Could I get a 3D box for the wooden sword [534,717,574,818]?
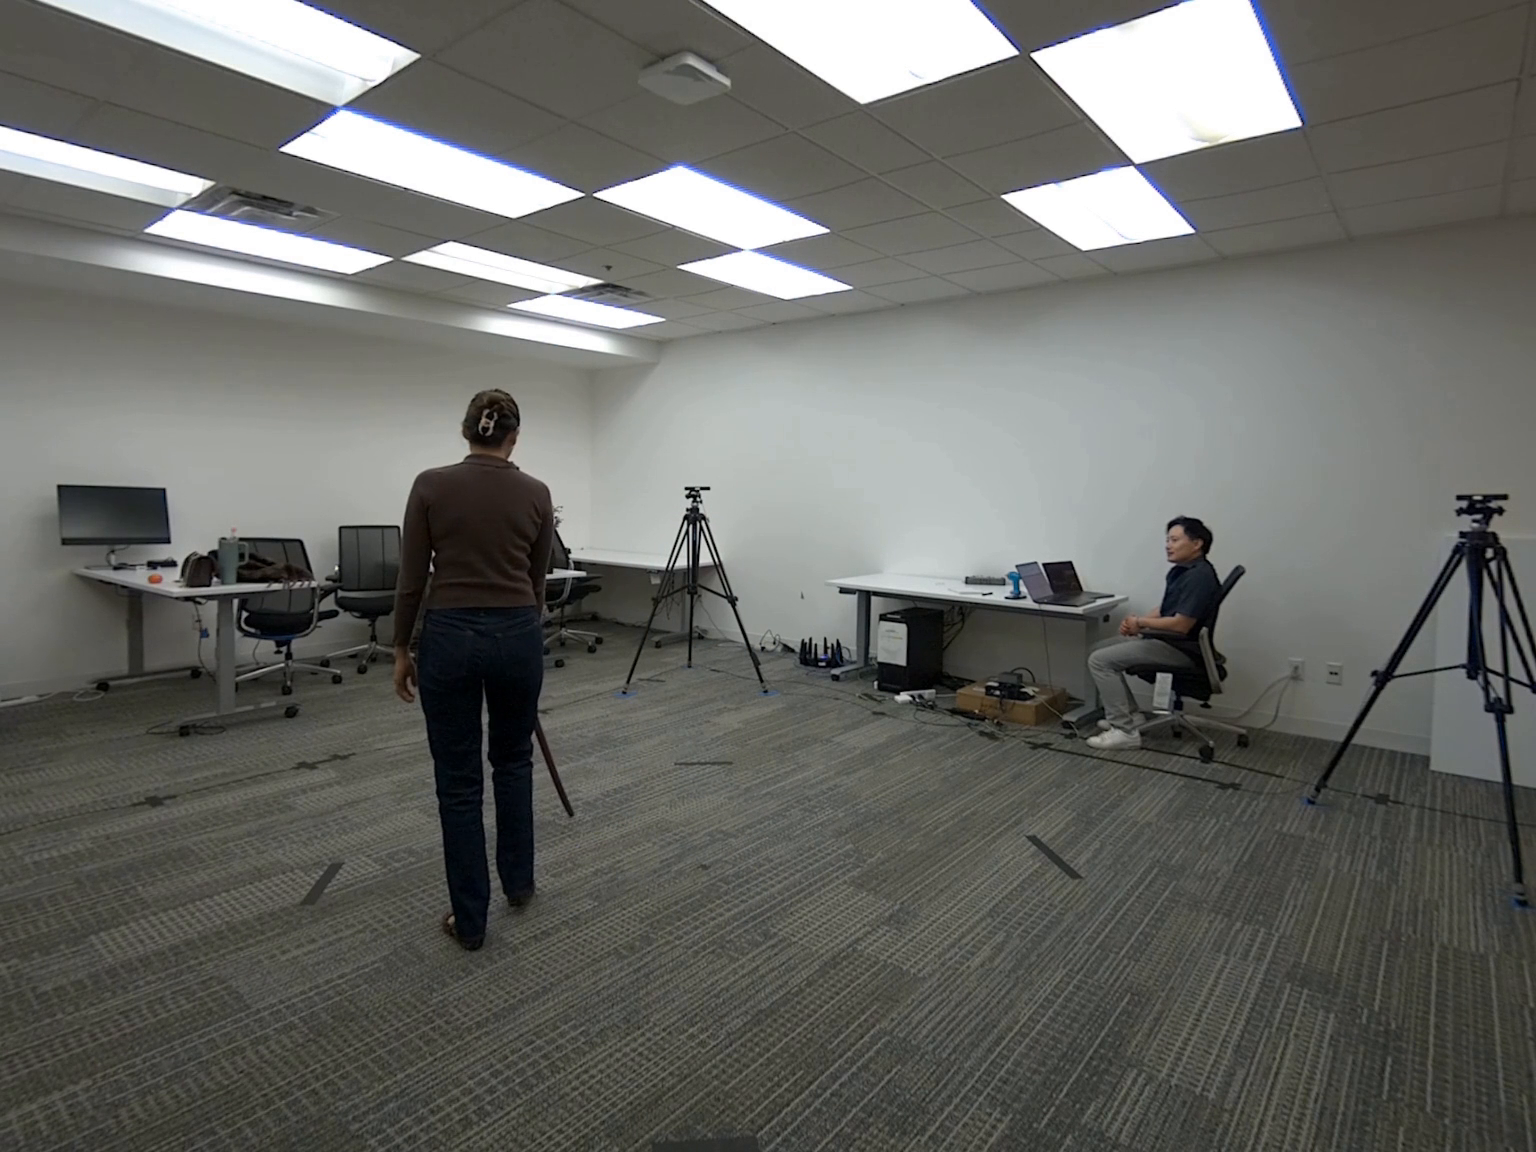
[{"bbox_3d":[-0.874,0.654,3.275,0.051,0.994,0.025,-8,41,-6],"label":"wooden sword"}]
